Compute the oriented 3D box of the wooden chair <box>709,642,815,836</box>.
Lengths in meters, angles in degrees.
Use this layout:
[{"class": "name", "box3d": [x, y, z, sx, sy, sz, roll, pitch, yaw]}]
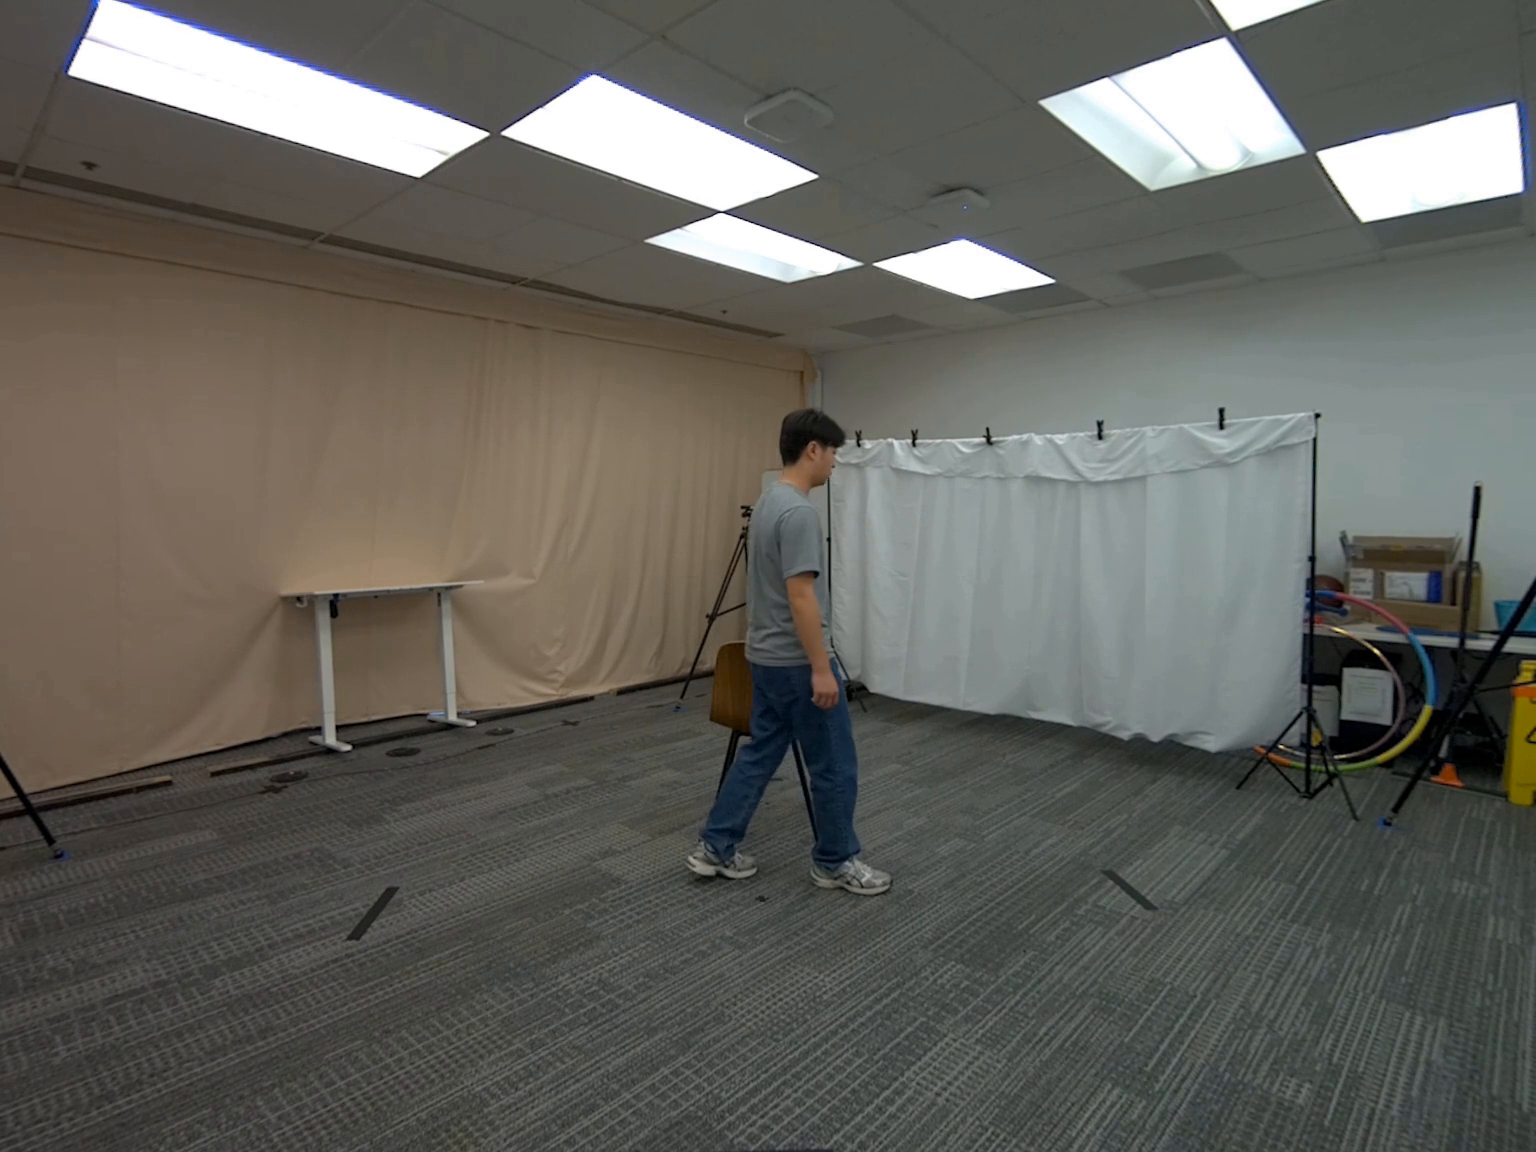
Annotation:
[{"class": "wooden chair", "box3d": [-0.028, 0.657, 3.695, 0.479, 0.873, 0.525, -1, 7, 0]}]
